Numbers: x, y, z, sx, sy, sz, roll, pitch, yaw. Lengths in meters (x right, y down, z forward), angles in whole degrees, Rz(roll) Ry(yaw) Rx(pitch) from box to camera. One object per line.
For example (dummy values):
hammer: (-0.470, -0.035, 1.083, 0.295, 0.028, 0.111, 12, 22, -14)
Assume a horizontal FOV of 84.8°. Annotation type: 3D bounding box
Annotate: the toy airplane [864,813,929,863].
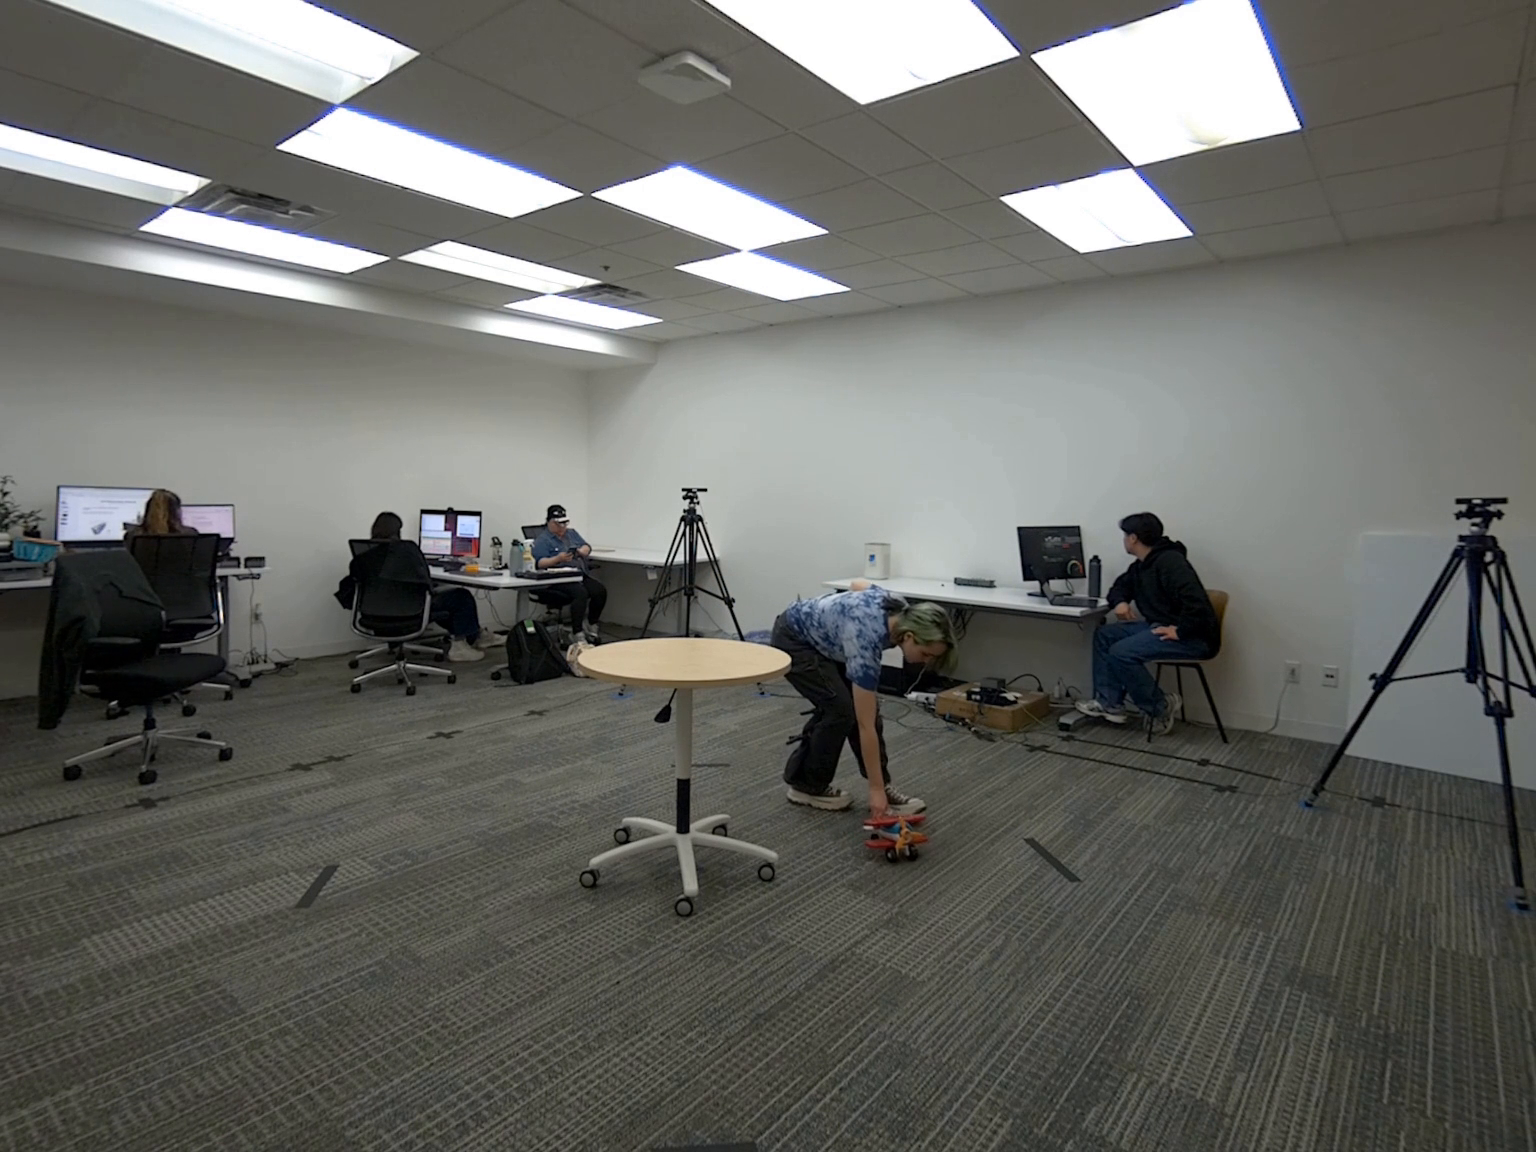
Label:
toy airplane: (0.461, 0.997, 3.288, 0.268, 0.156, 0.243, 7, 7, 42)
